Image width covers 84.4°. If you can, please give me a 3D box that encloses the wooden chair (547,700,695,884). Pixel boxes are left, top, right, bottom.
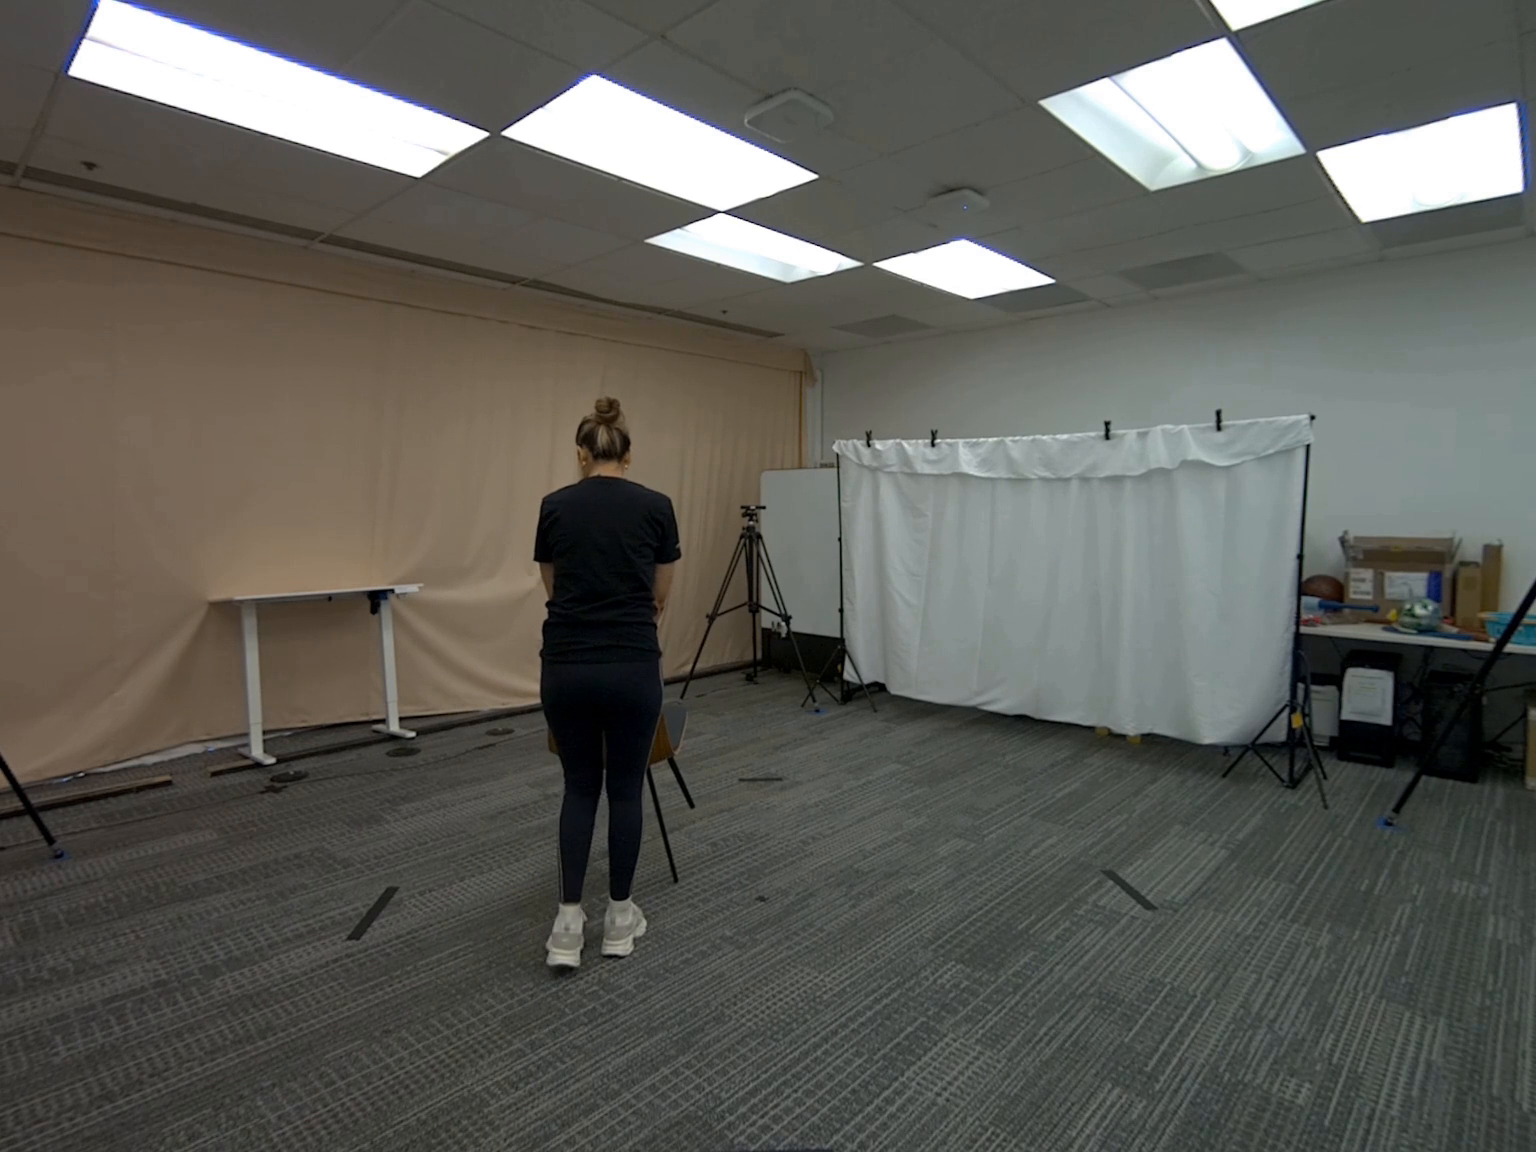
[{"bbox_3d":[-0.560,0.655,3.210,0.482,0.864,0.527,0,24,6],"label":"wooden chair"}]
